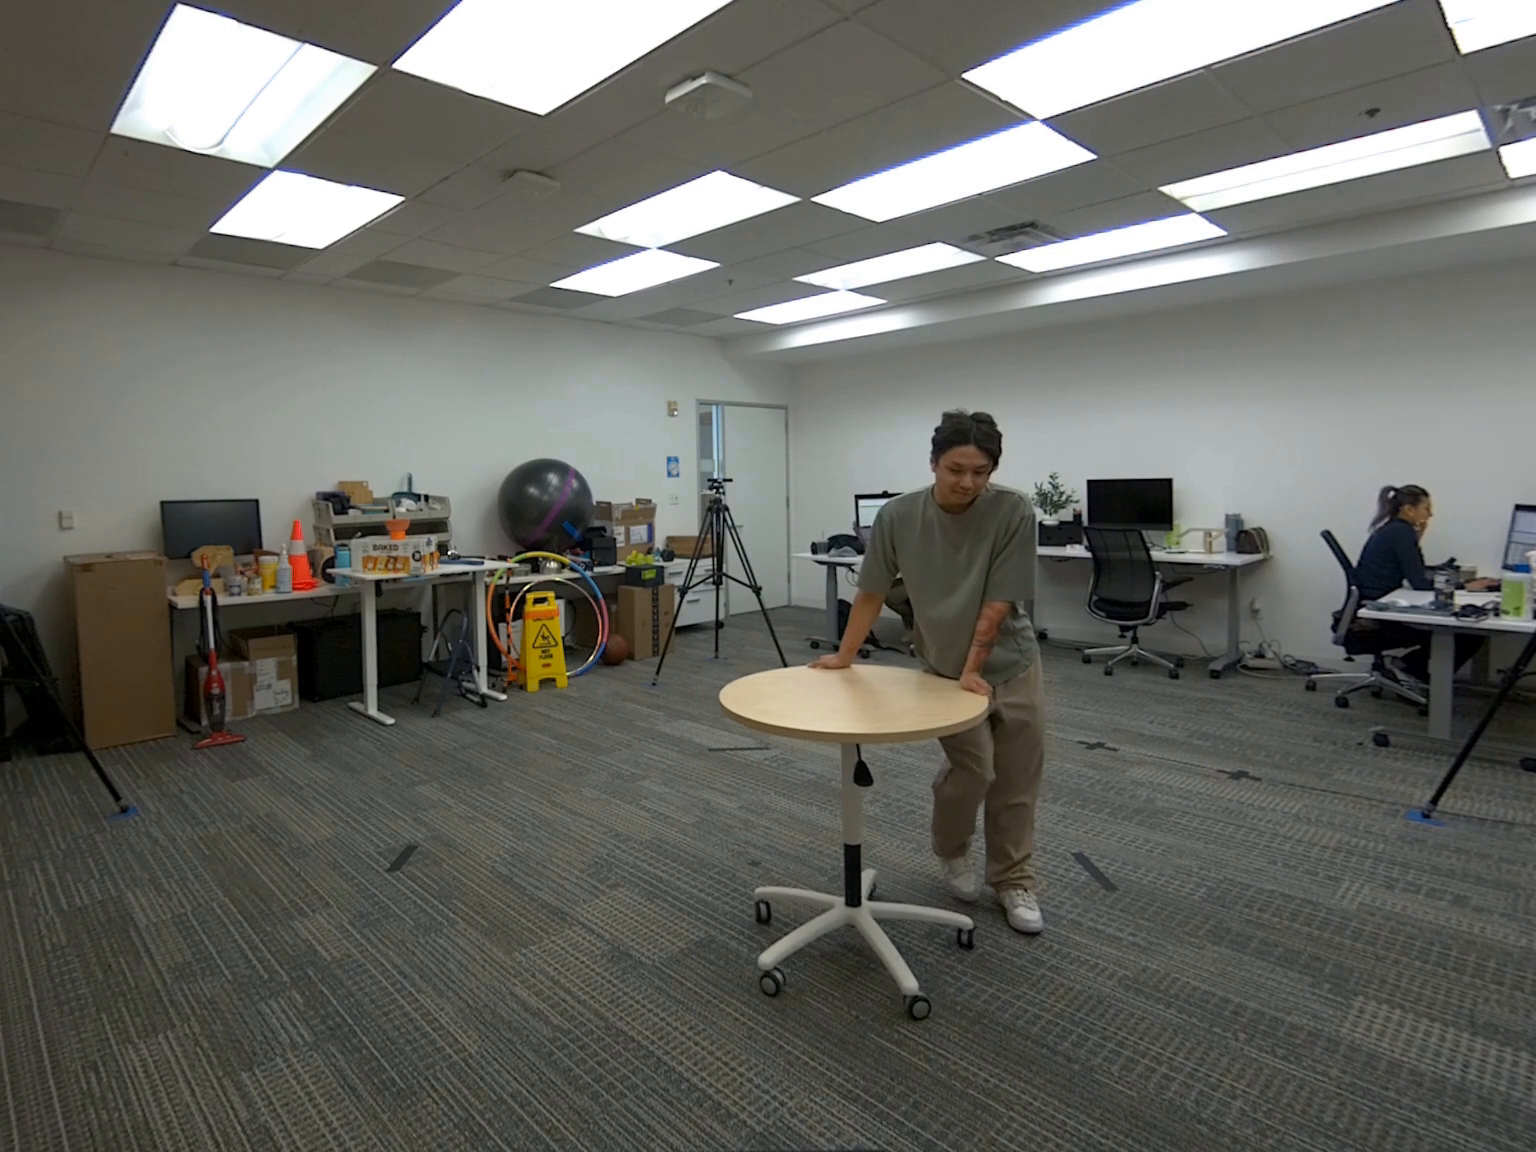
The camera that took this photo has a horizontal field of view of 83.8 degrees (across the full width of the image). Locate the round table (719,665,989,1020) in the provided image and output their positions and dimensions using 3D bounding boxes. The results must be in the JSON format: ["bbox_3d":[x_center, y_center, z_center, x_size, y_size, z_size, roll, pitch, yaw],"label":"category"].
[{"bbox_3d":[0.243,0.720,2.520,0.784,0.783,0.789,-1,5,-2],"label":"round table"}]
